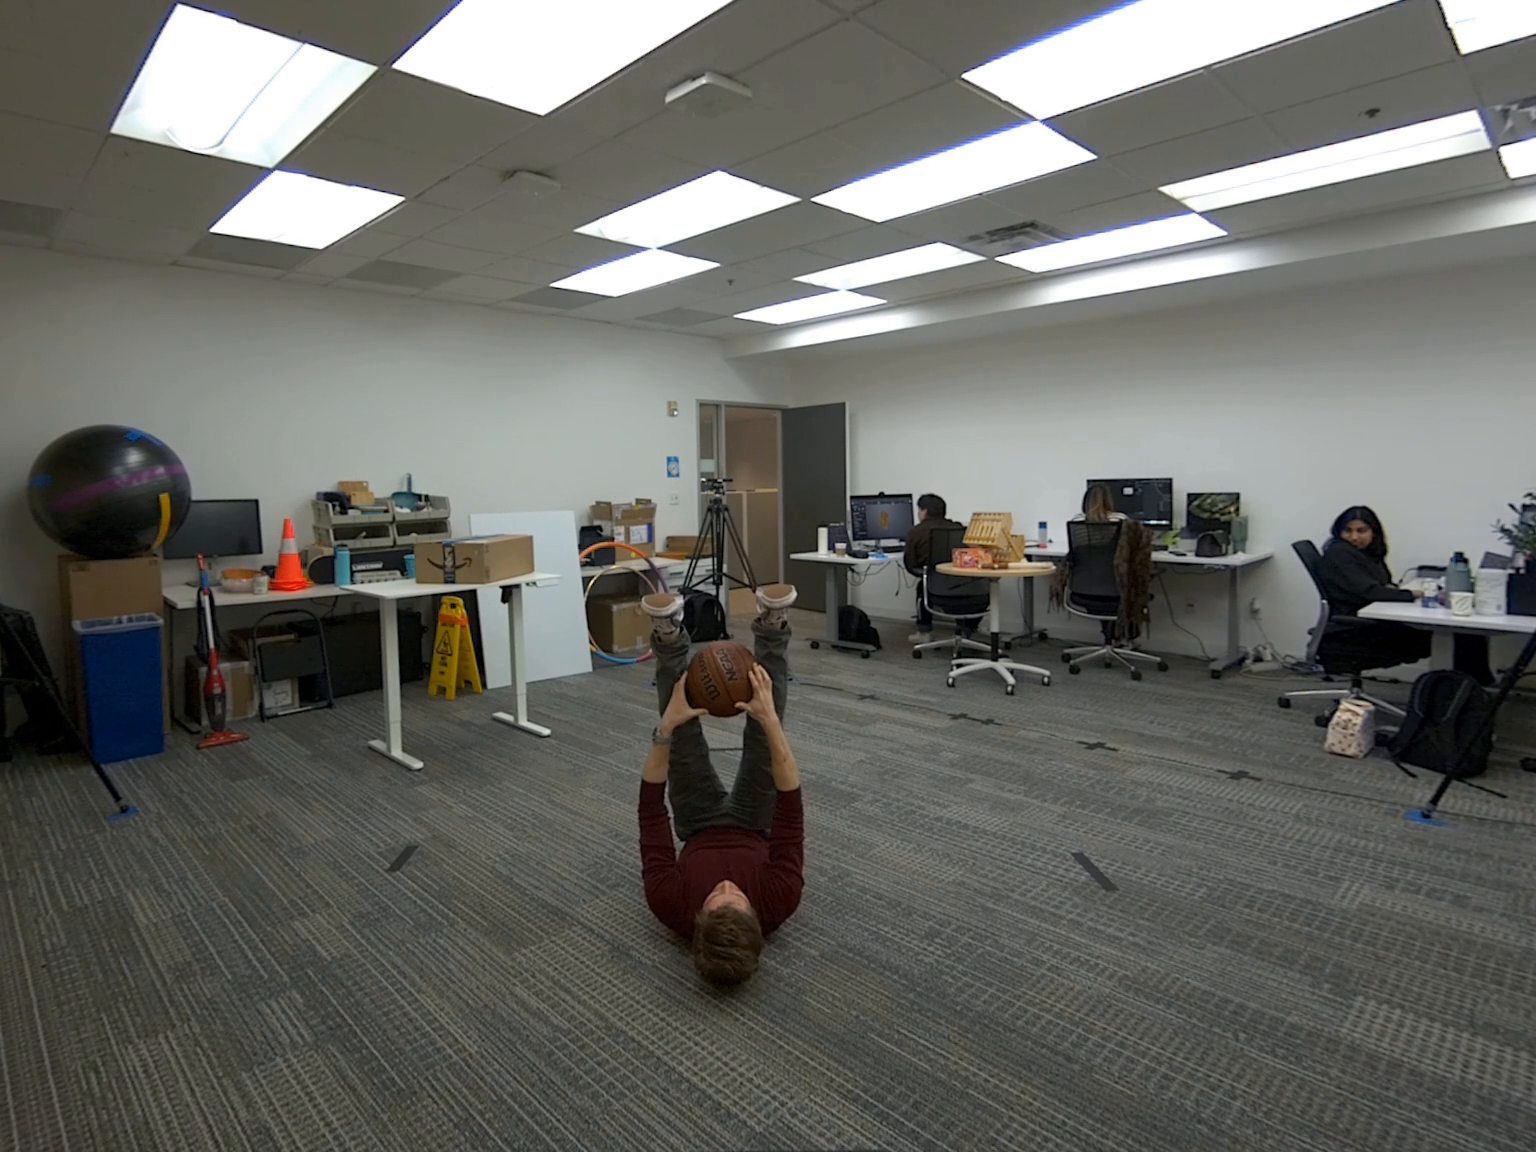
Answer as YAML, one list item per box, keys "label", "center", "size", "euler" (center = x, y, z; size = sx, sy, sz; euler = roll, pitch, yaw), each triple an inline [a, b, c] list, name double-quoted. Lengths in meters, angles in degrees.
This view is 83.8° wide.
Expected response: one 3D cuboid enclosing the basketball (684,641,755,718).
- label: "basketball"
  center: [-0.134, 0.318, 2.688]
  size: [0.236, 0.235, 0.237]
  euler: [-1, 5, -2]
